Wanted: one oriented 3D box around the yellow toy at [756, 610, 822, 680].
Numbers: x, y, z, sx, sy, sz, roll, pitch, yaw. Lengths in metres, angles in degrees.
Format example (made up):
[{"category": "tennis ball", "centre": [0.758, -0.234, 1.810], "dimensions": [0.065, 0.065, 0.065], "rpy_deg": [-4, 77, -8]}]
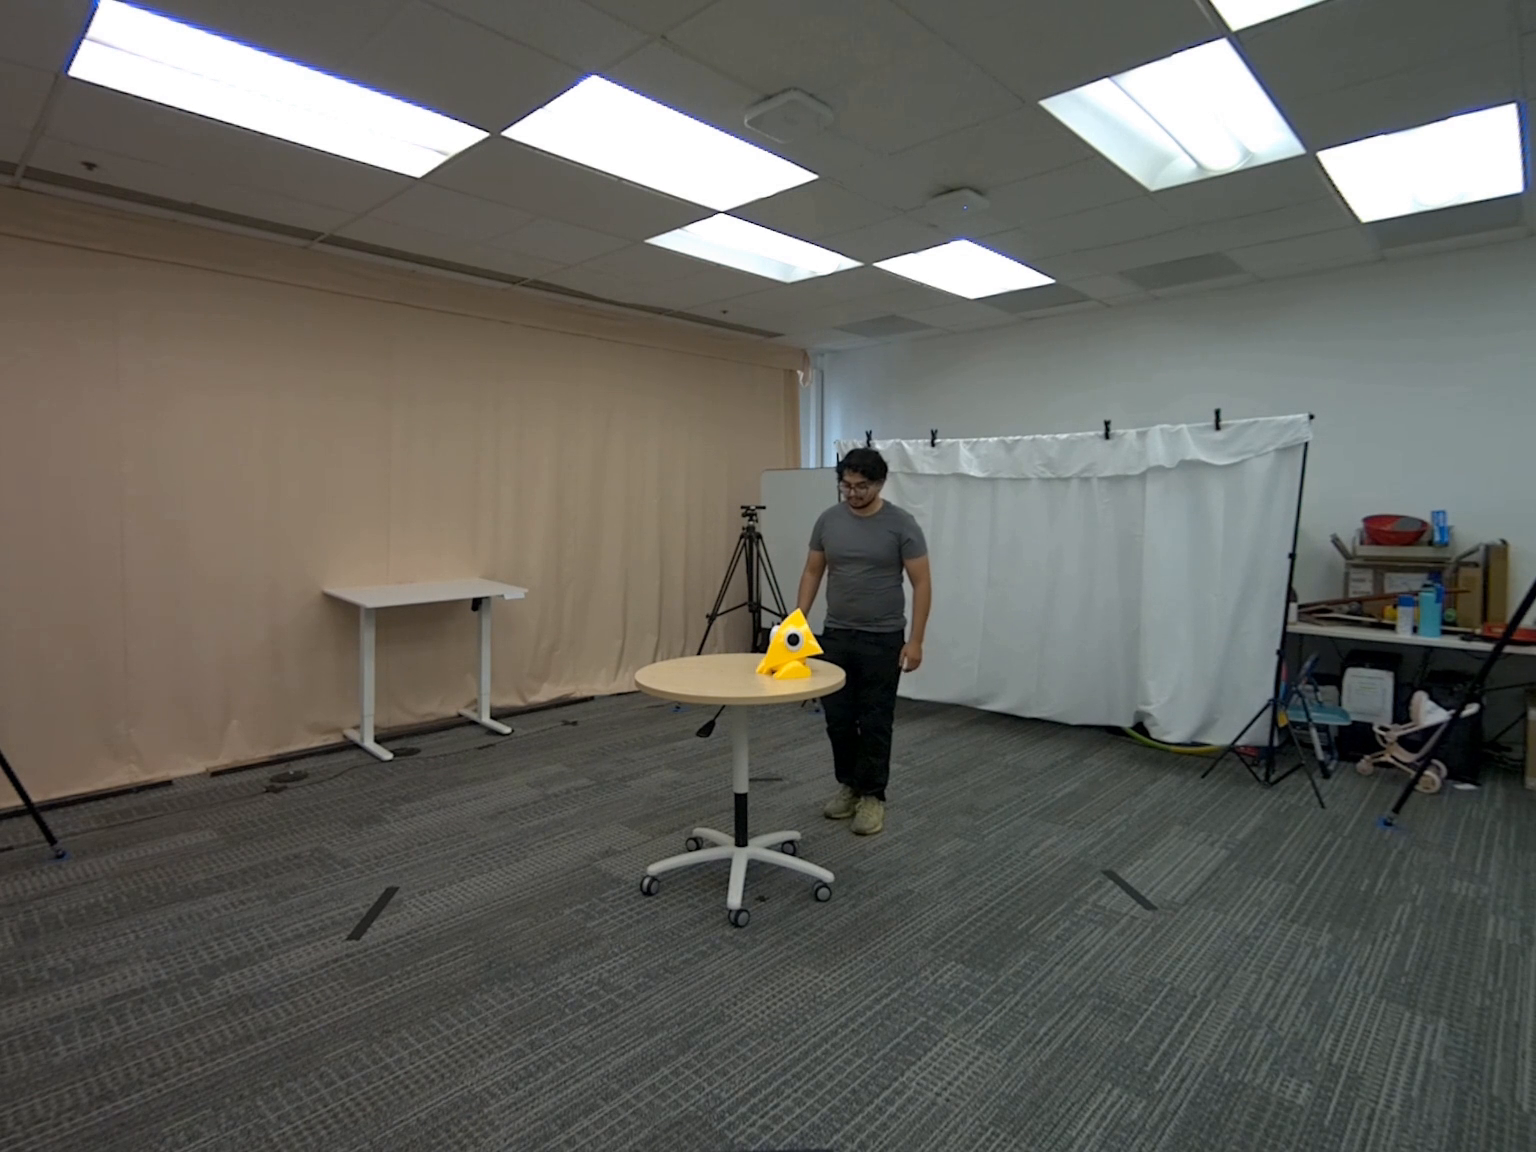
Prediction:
[{"category": "yellow toy", "centre": [0.069, 0.238, 3.050], "dimensions": [0.188, 0.230, 0.211], "rpy_deg": [-3, 4, -32]}]
